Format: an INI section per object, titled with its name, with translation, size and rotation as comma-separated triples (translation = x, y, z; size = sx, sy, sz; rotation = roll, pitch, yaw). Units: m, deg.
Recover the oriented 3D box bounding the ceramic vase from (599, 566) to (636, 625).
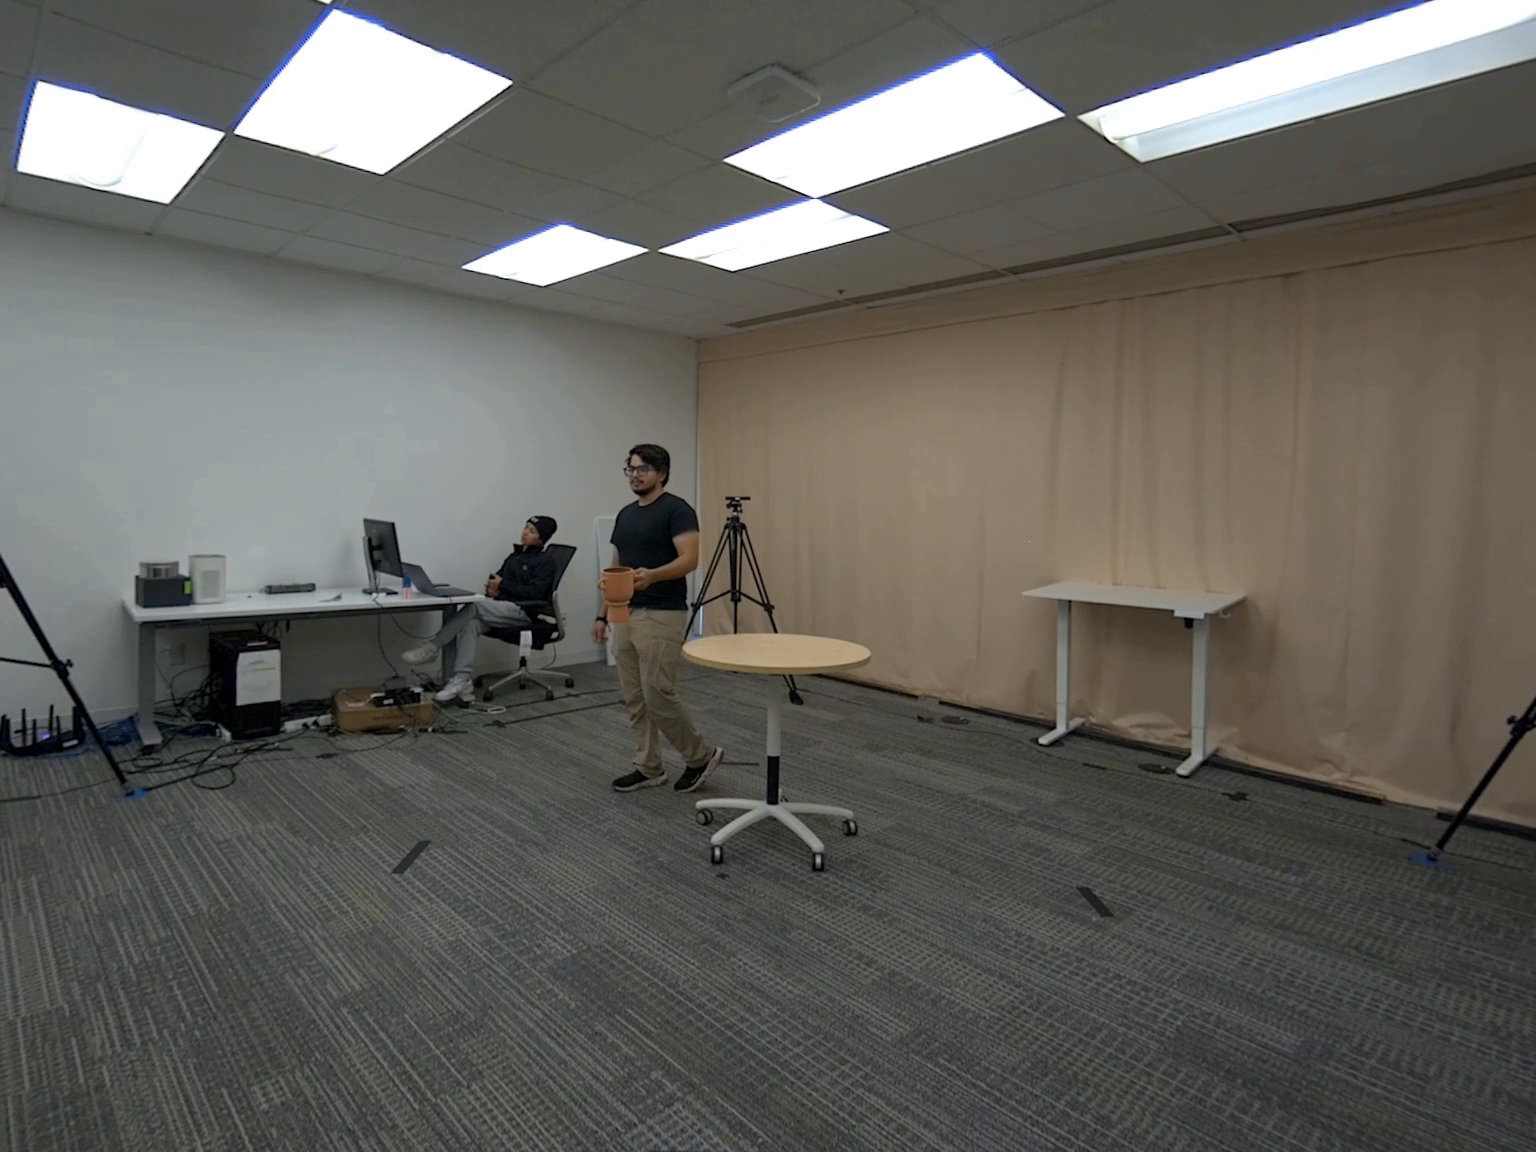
[ceramic vase]
translation = -0.660, 0.081, 3.577
size = 0.158, 0.218, 0.136
rotation = -1, 10, -5
